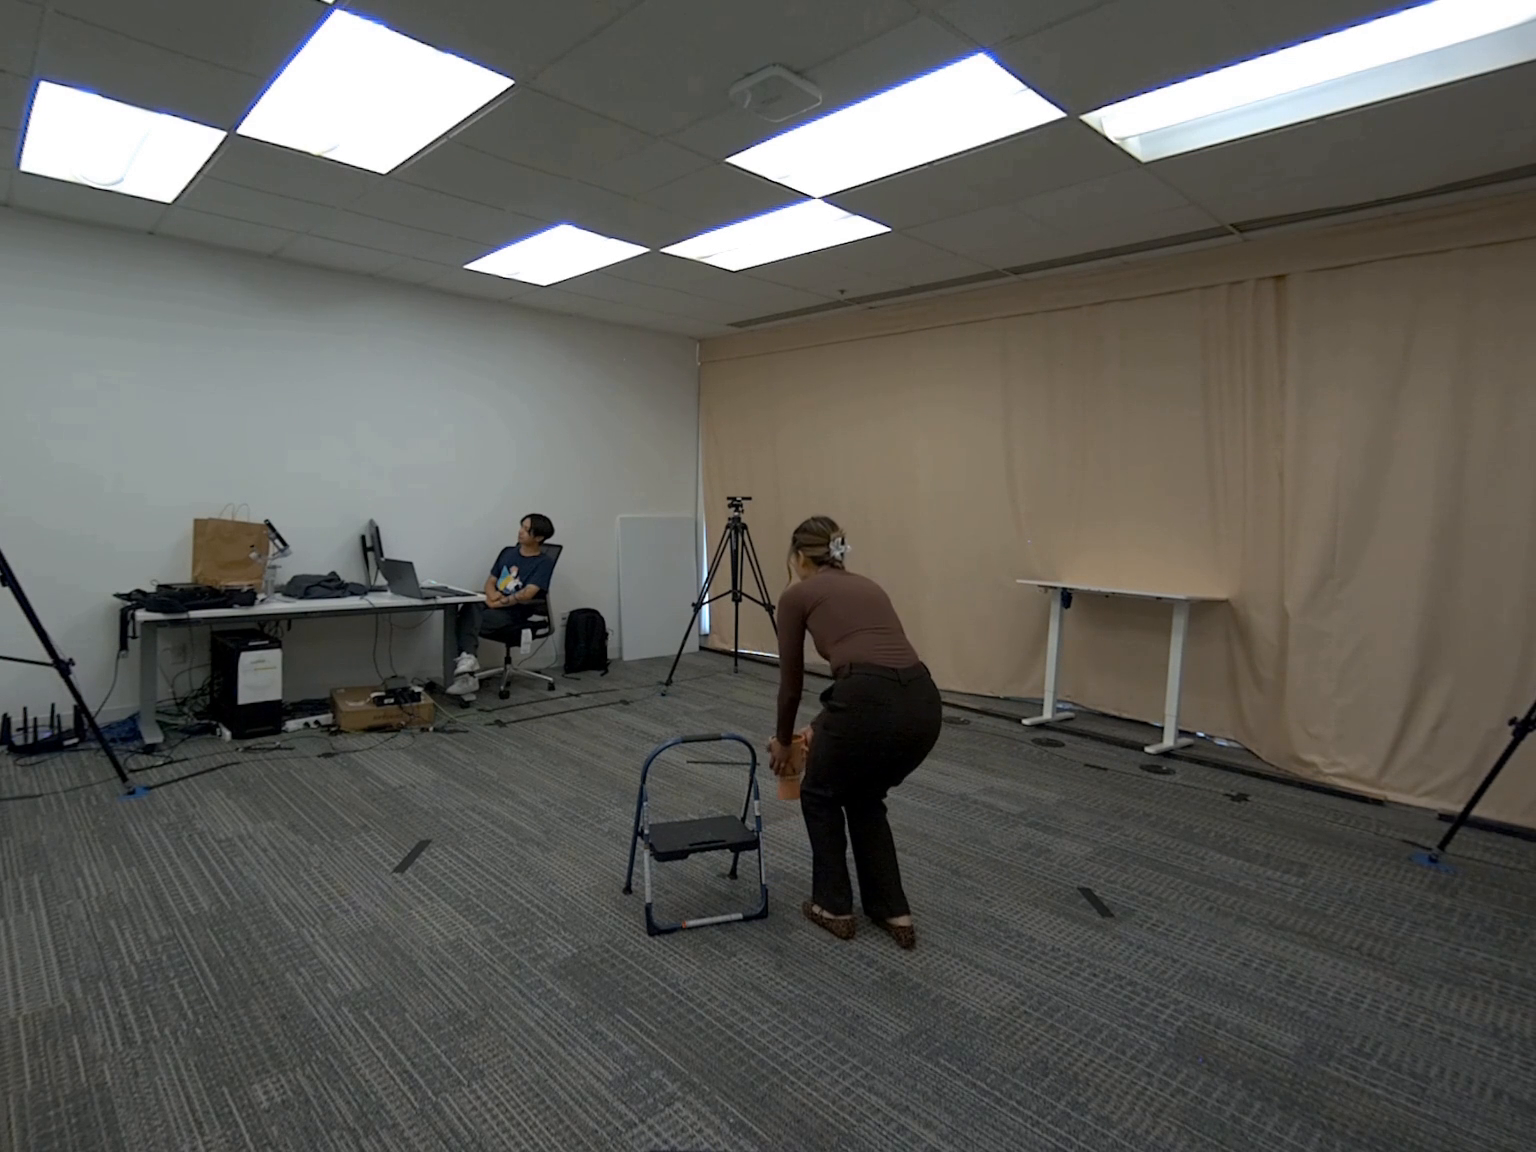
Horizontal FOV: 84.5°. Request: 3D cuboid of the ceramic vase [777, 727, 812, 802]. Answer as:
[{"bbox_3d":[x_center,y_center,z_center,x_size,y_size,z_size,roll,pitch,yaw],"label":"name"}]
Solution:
[{"bbox_3d":[0.069,0.701,3.118,0.133,0.219,0.161,-2,3,-17],"label":"ceramic vase"}]
